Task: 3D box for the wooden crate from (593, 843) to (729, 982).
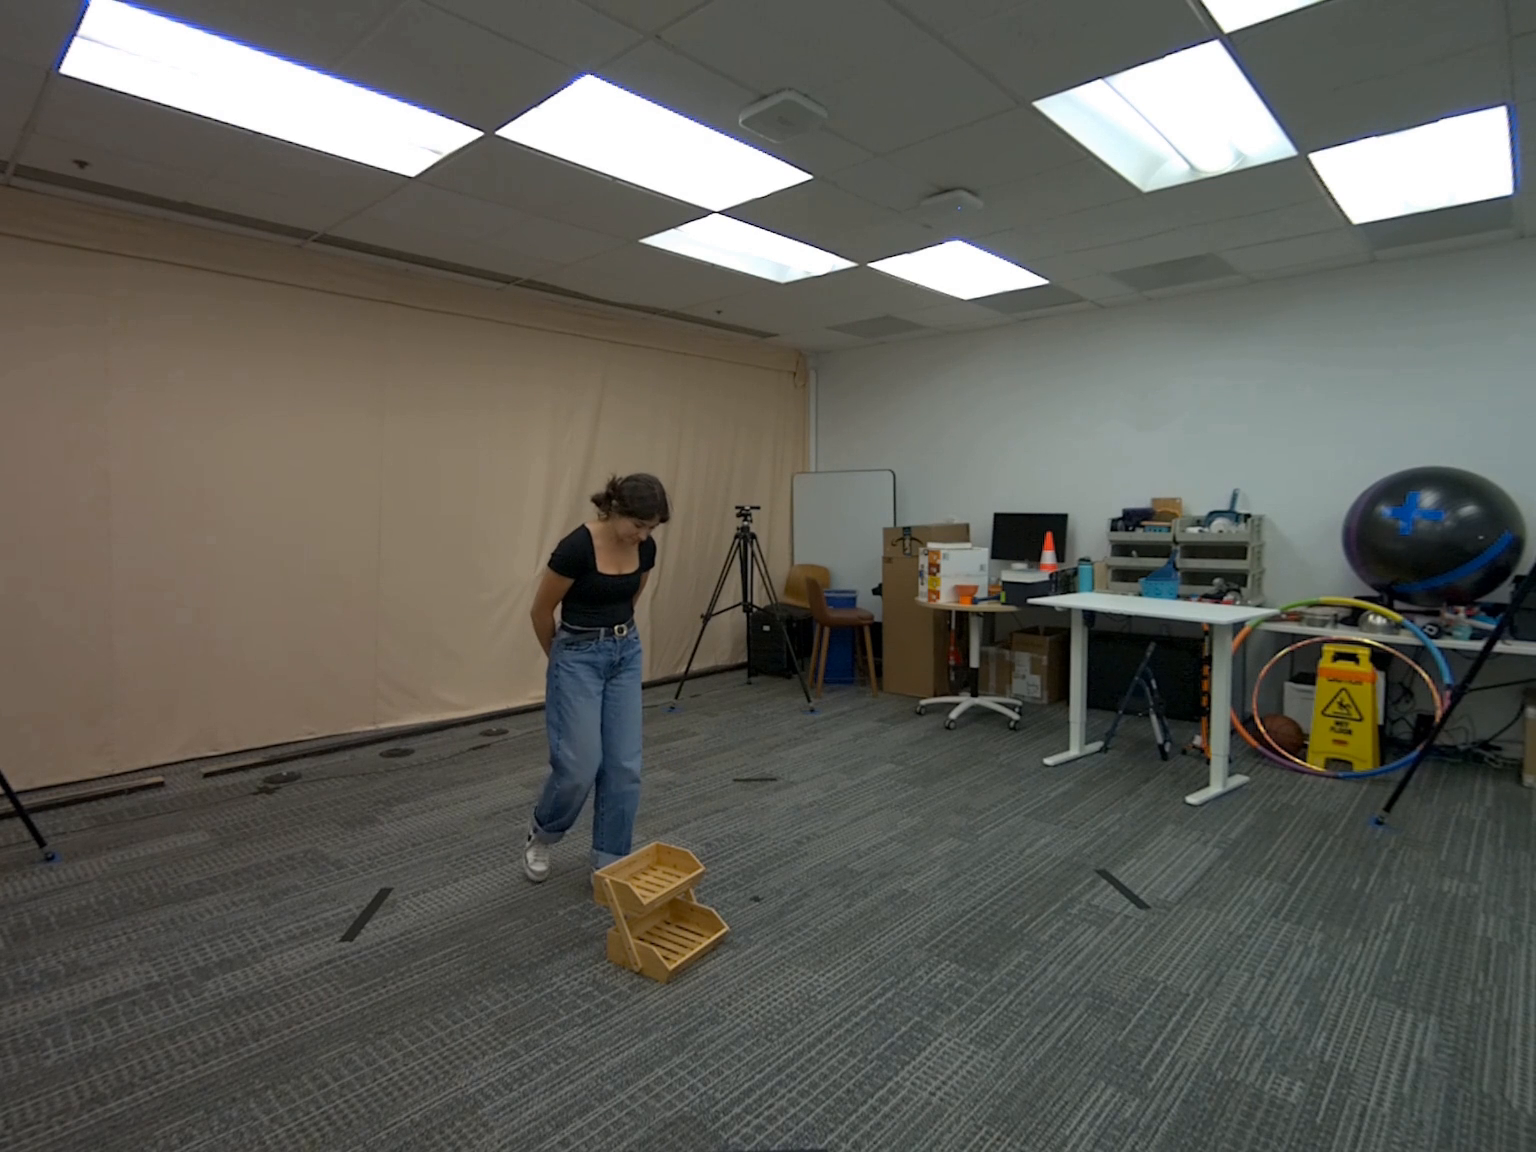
[{"bbox_3d":[-0.330,1.044,2.641,0.311,0.273,0.315,1,4,34],"label":"wooden crate"}]
